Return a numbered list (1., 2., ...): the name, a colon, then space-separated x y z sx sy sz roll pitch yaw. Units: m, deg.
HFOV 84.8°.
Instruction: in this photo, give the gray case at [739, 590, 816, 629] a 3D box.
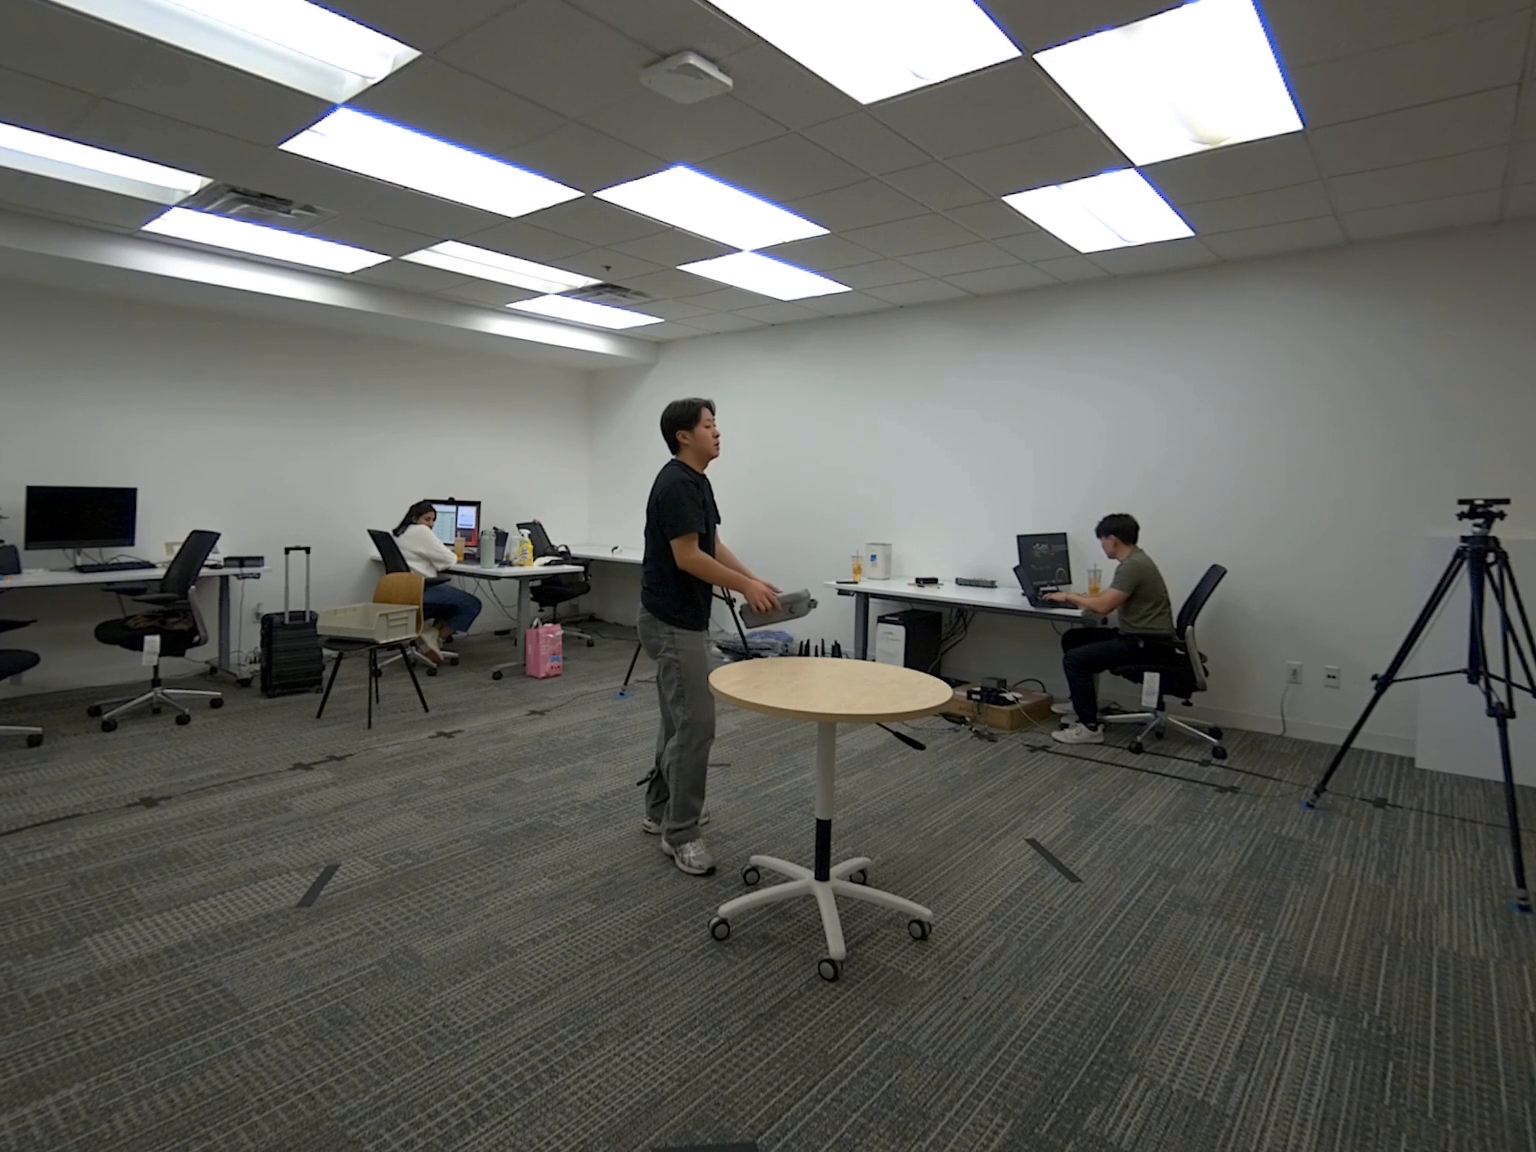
1. gray case: 0.032 0.127 3.305 0.289 0.103 0.261 -11 0 7
